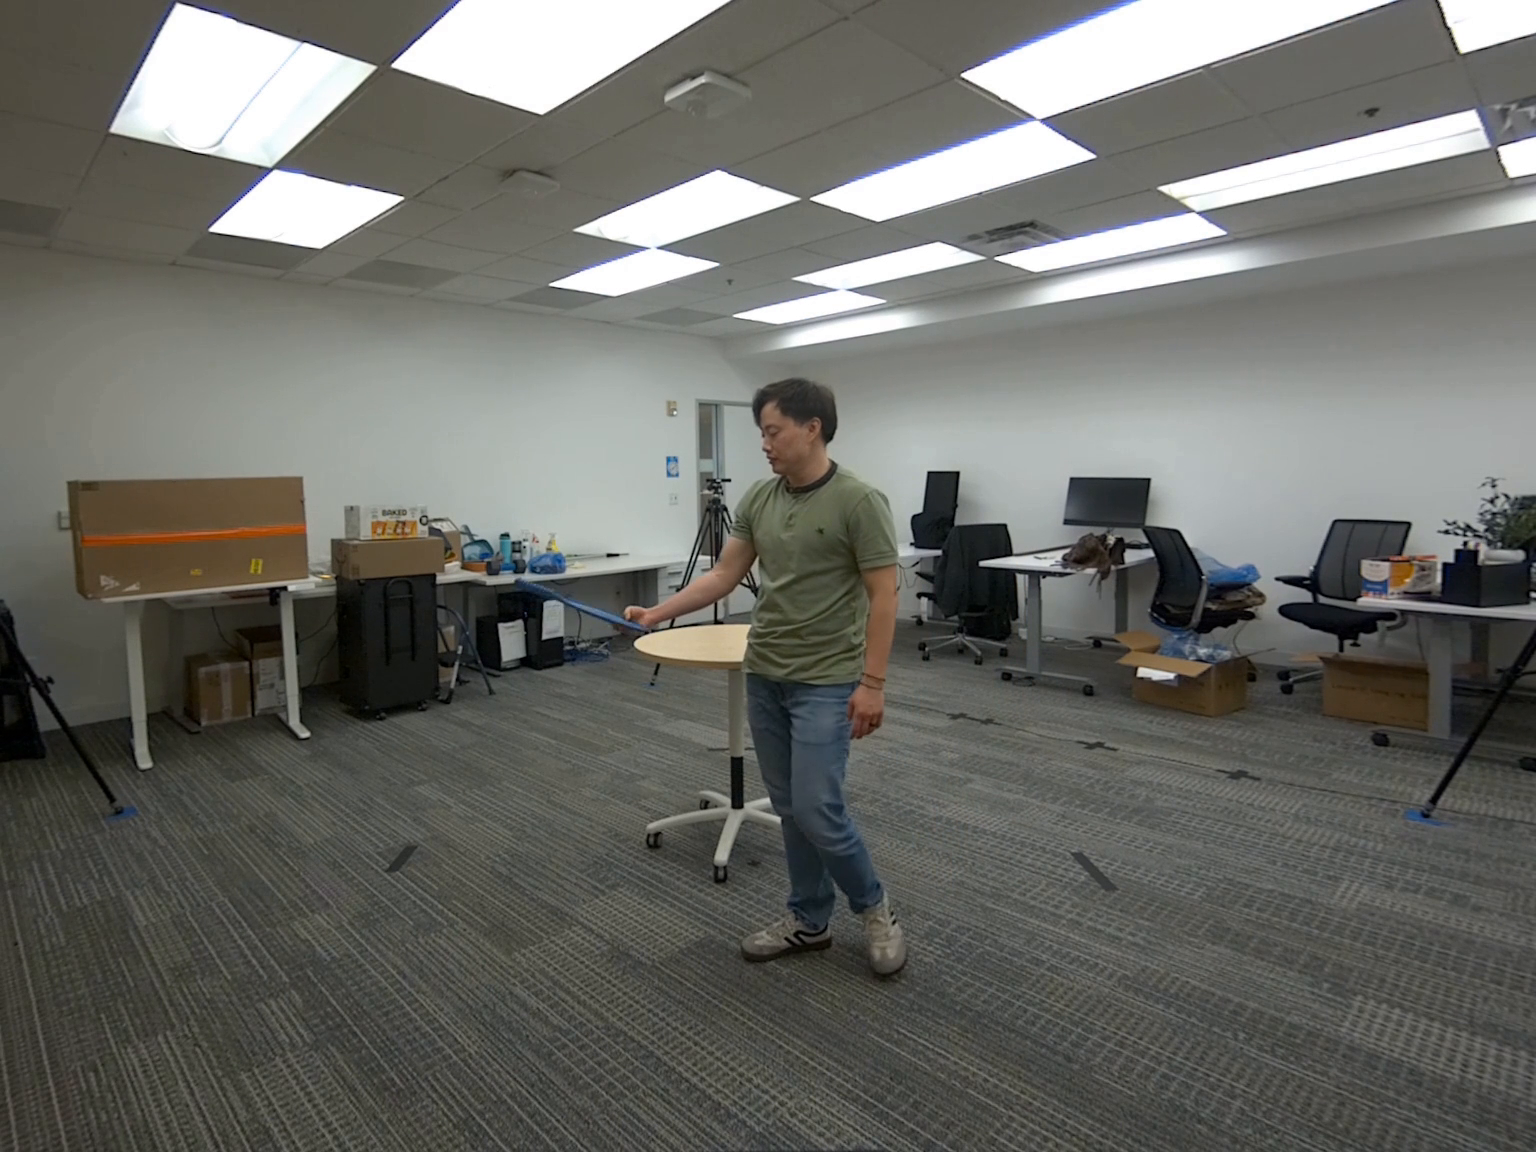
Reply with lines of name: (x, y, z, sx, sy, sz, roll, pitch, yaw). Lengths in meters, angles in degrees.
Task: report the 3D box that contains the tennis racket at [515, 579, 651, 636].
tennis racket: (-0.515, 0.088, 2.442, 0.435, 0.032, 0.212, 18, -3, 3)
